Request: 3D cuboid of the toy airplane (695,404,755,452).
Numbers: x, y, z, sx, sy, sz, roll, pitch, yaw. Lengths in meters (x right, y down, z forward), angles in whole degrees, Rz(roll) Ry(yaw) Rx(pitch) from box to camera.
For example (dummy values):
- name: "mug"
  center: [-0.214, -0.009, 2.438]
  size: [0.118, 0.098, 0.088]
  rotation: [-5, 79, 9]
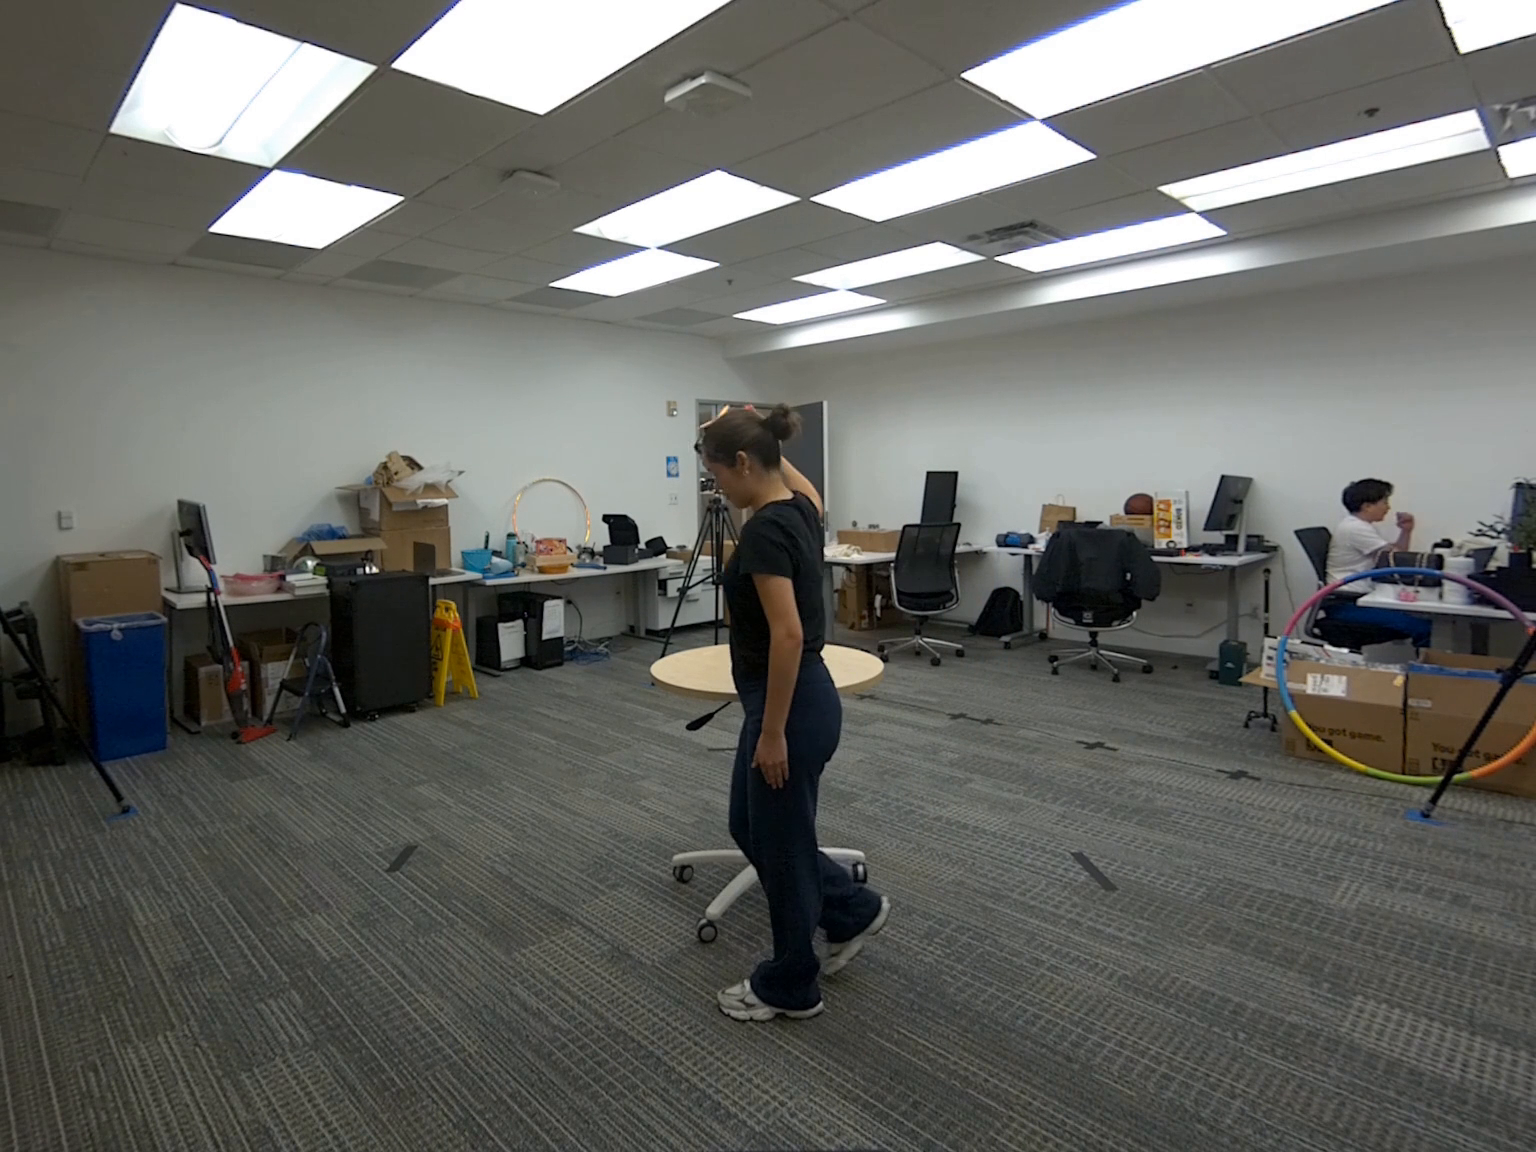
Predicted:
- name: "toy airplane"
  center: [-0.094, -0.416, 2.781]
  size: [0.251, 0.255, 0.158]
  rotation: [13, -24, -34]
